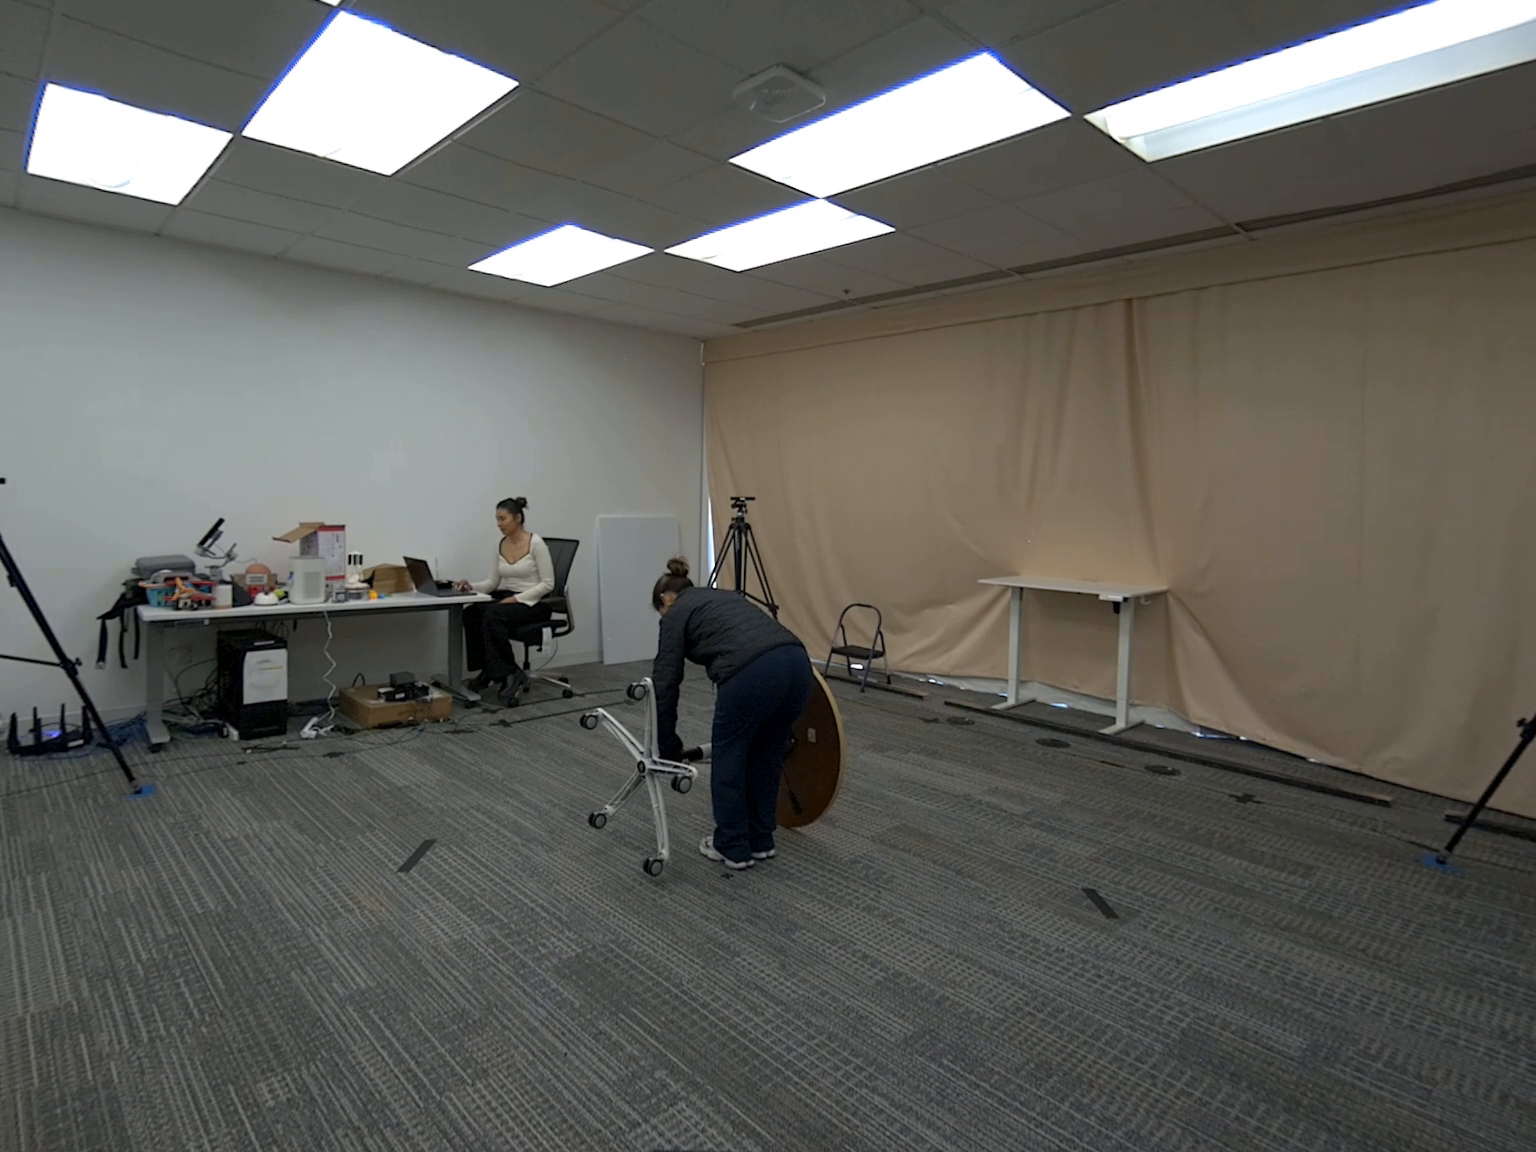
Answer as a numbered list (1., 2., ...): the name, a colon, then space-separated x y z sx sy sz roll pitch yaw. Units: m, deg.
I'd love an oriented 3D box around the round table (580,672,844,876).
1. round table: -0.242 0.721 3.348 0.769 0.782 0.805 -4 7 -42
